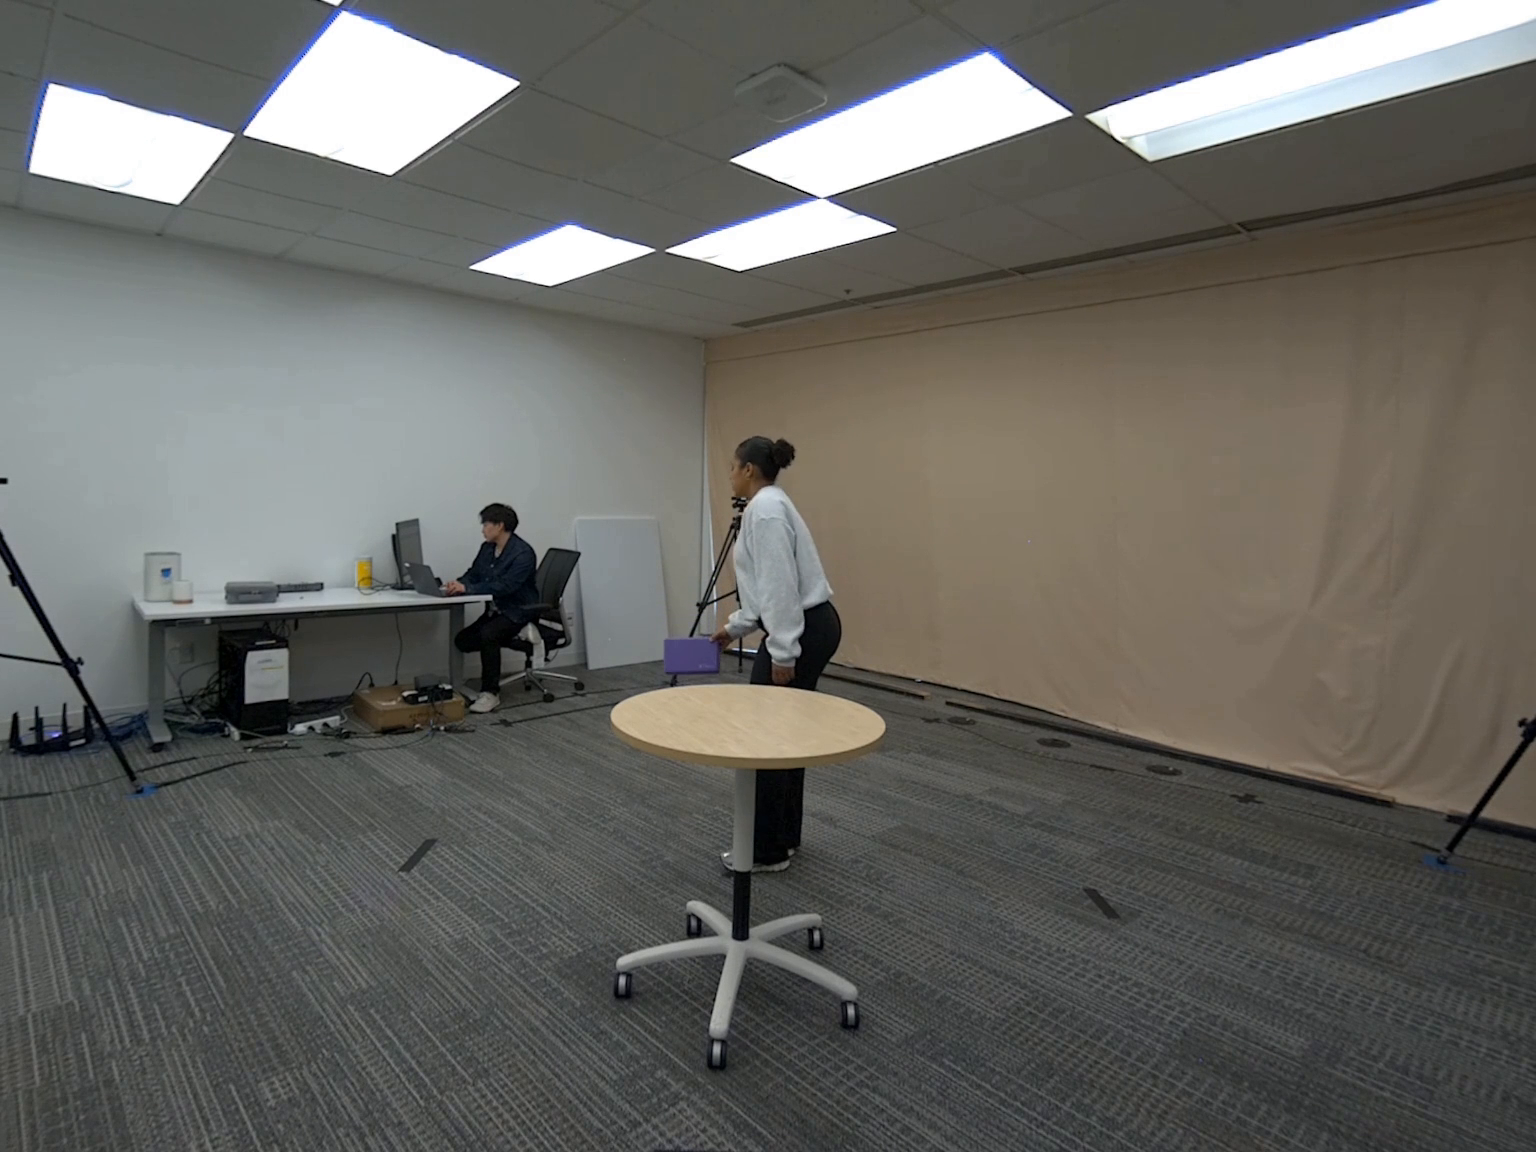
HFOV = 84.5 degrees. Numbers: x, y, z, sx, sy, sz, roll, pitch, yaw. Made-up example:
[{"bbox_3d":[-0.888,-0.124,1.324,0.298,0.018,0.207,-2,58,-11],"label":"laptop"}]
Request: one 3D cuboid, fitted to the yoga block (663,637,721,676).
[{"bbox_3d":[-0.319,0.339,3.510,0.230,0.150,0.075,-2,-7,7],"label":"yoga block"}]
